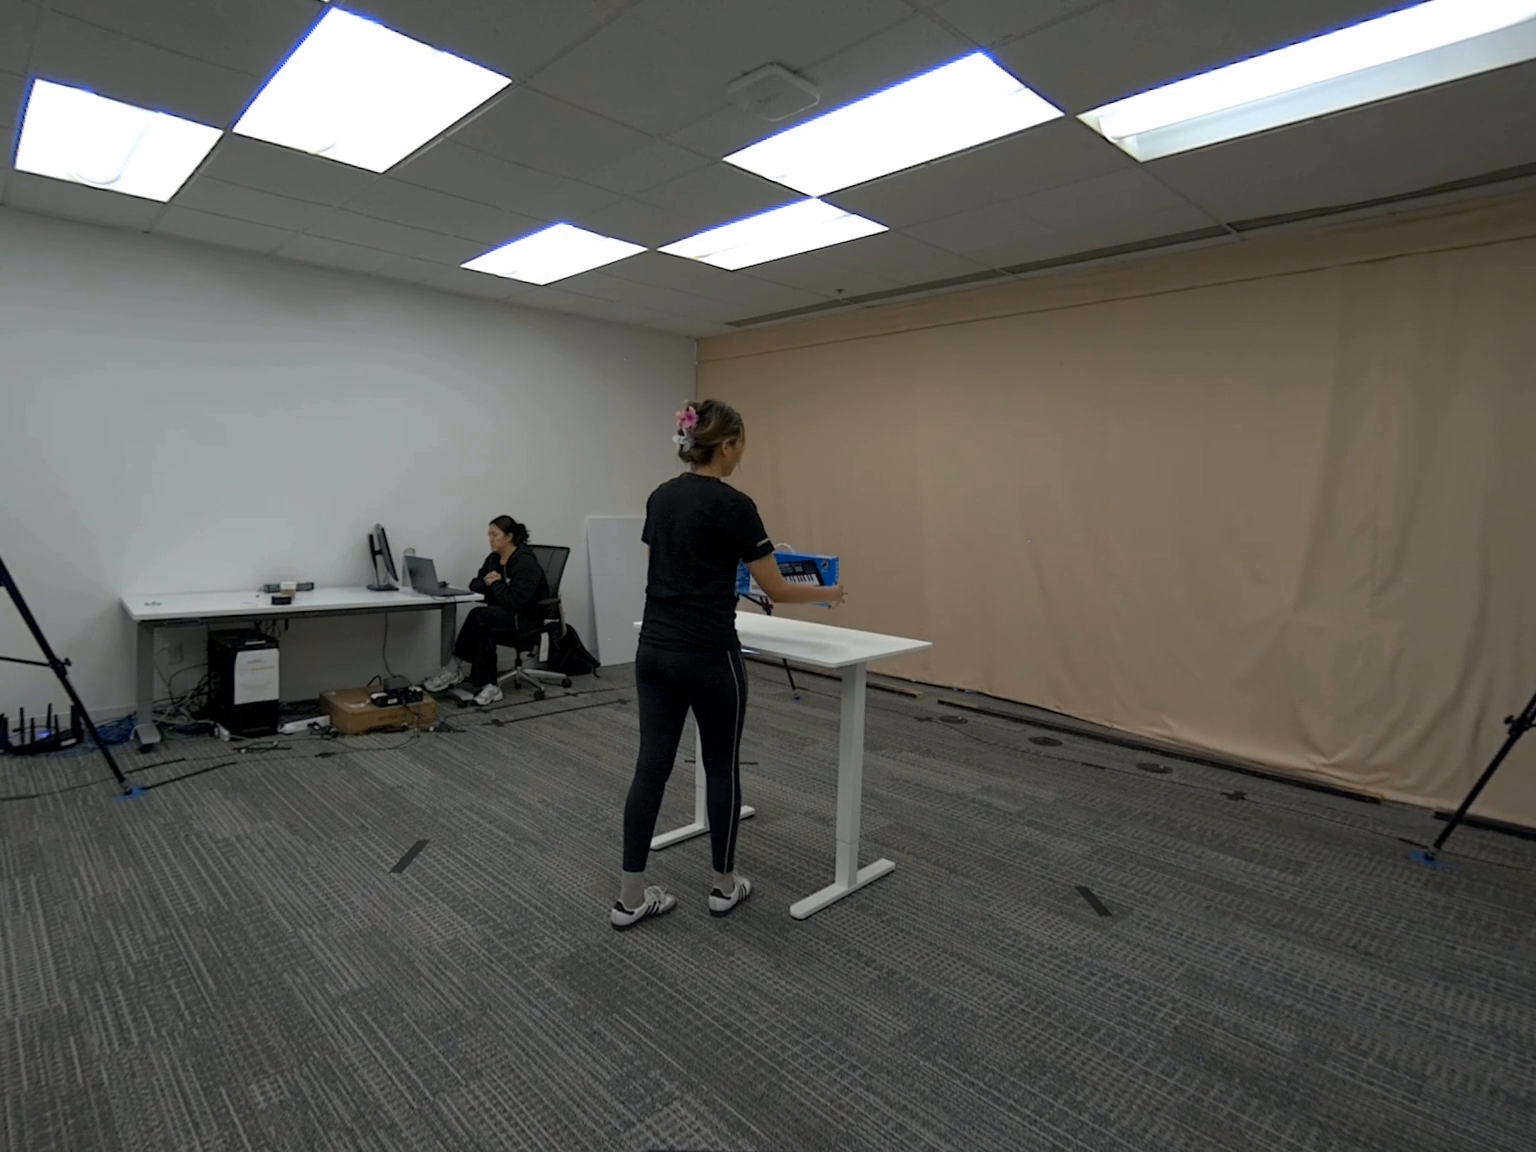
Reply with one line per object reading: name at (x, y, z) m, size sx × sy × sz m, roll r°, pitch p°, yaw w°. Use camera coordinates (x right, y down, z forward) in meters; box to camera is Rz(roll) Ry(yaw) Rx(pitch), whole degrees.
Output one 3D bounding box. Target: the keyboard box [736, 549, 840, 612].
keyboard box at (0.047, 0.004, 3.089) m, size 0.447 × 0.175 × 0.058 m, roll 7°, pitch 10°, yaw 34°
